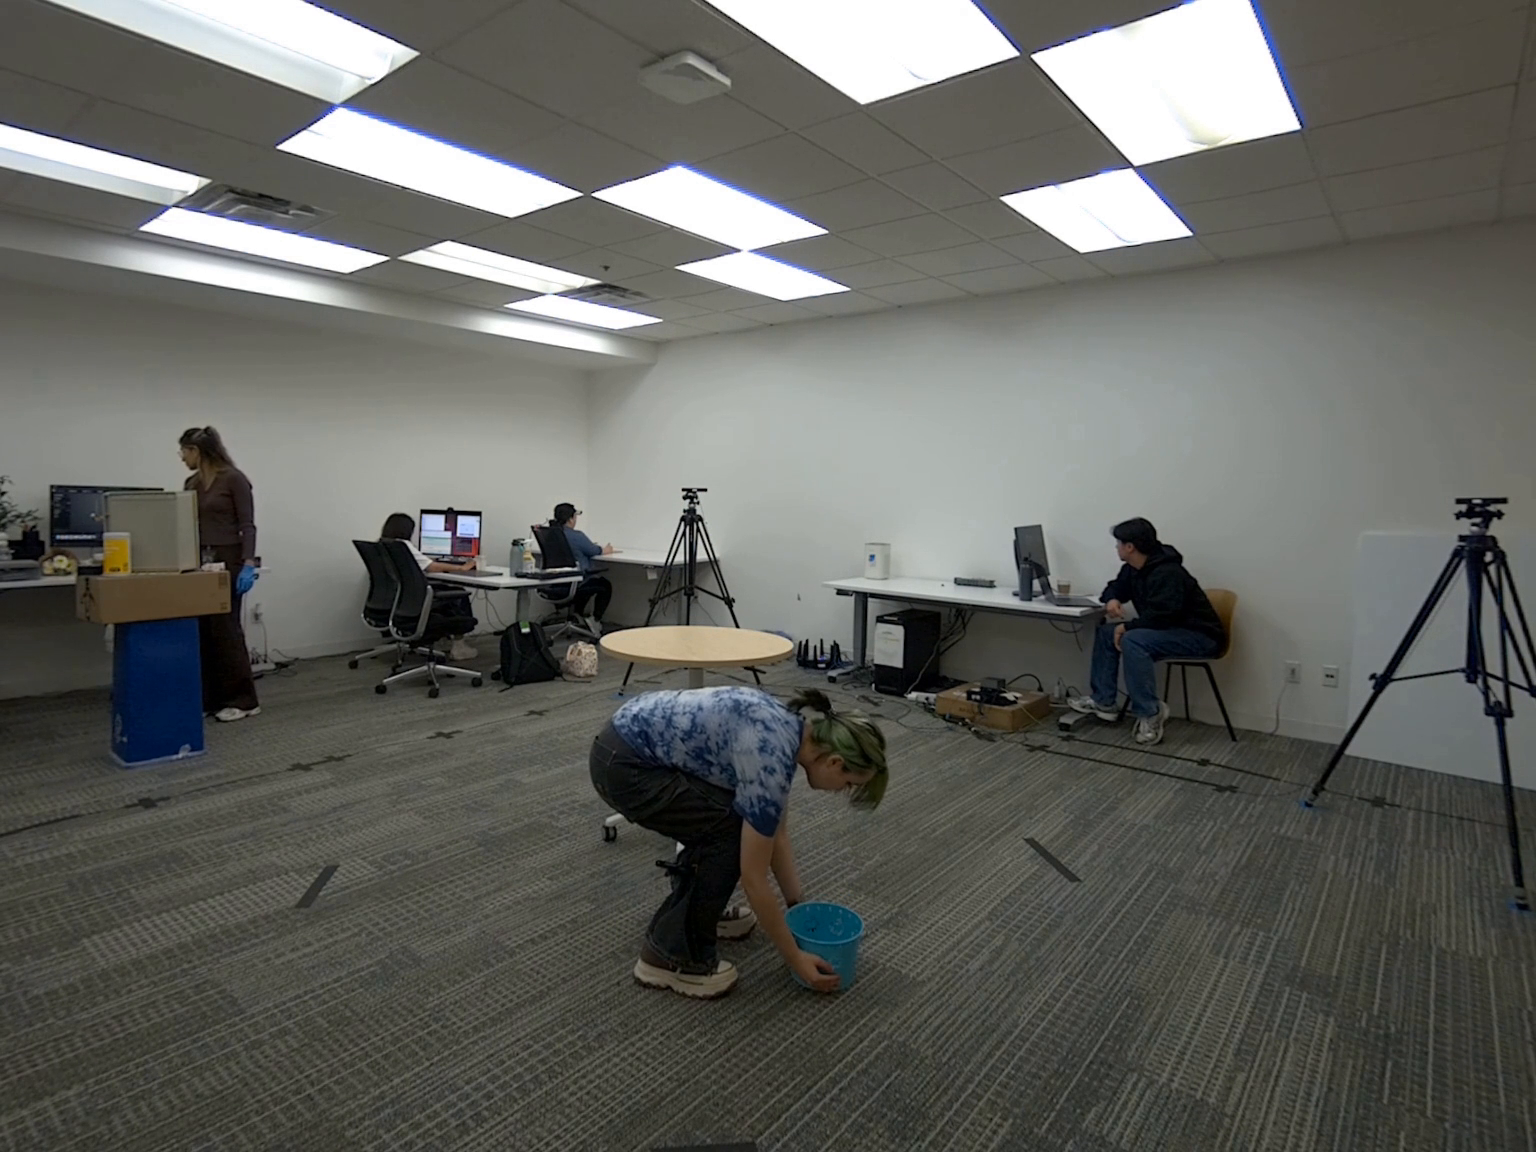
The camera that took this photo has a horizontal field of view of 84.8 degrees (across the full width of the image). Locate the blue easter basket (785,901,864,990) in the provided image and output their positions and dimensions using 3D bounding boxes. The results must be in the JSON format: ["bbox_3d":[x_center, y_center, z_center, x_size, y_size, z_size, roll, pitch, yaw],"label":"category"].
[{"bbox_3d":[0.160,1.063,2.459,0.243,0.155,0.245,0,5,-2],"label":"blue easter basket"}]
